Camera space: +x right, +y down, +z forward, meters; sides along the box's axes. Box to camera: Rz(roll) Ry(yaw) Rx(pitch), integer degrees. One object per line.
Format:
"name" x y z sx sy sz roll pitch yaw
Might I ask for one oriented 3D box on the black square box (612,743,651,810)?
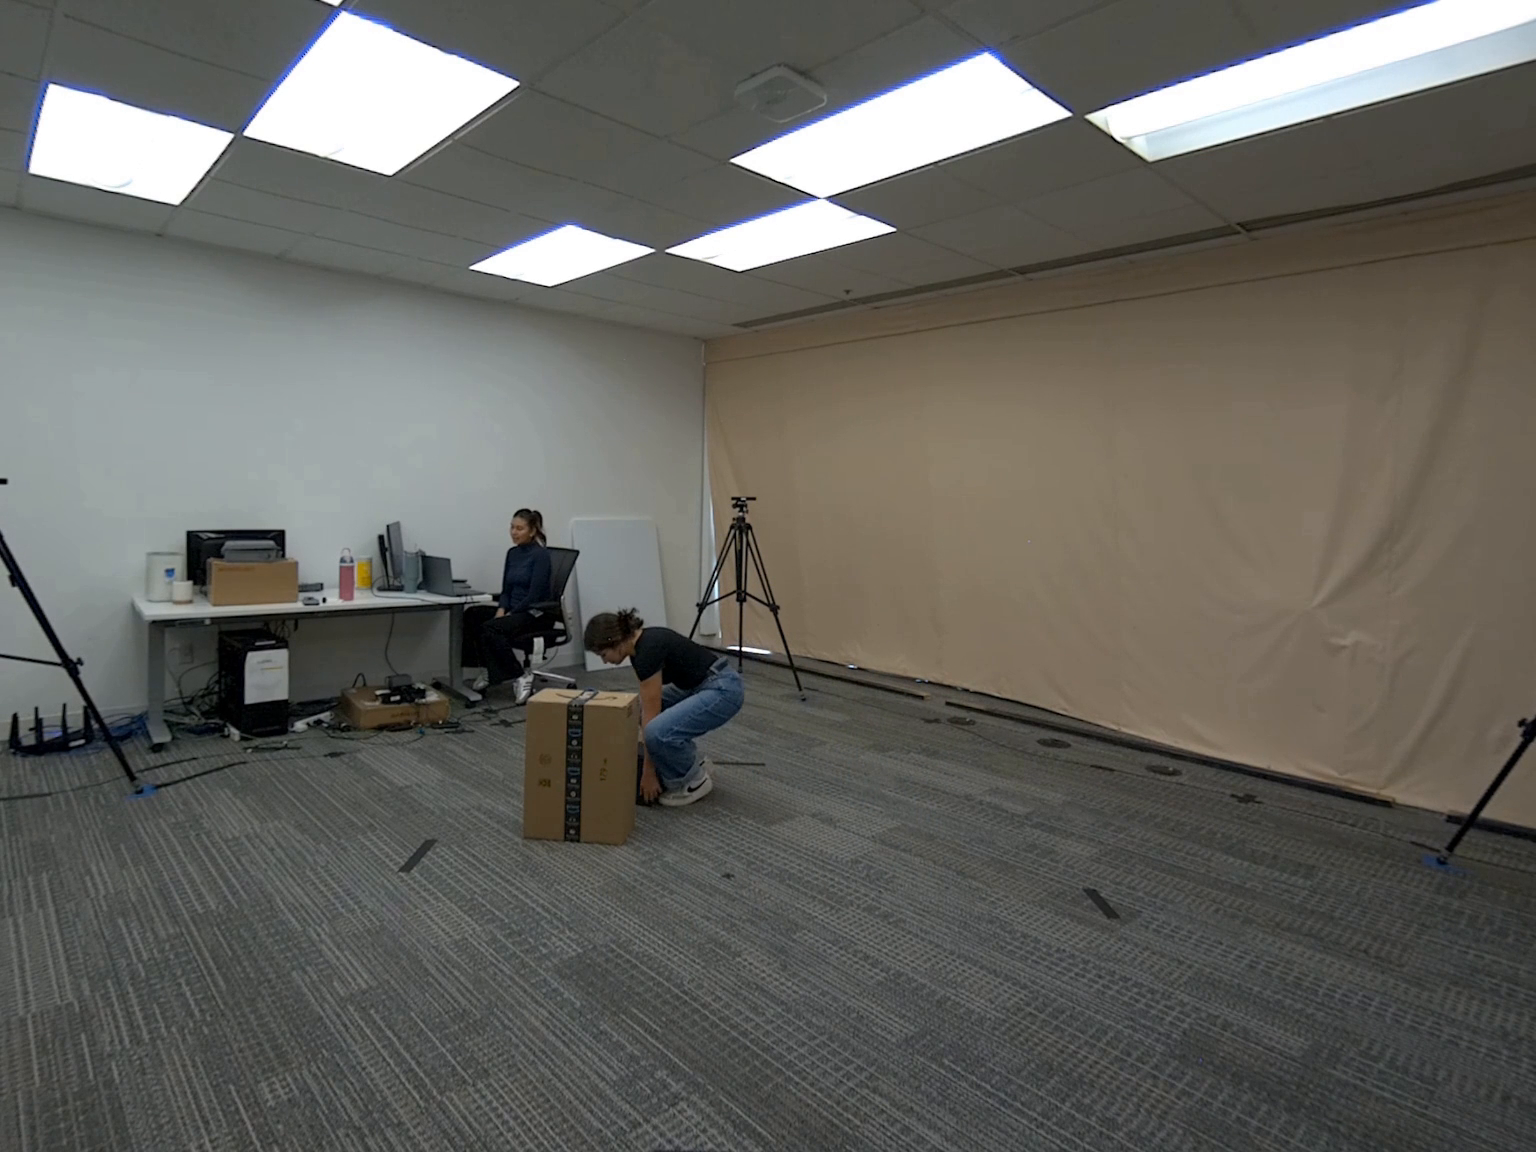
"black square box" -0.601 0.920 3.912 0.158 0.227 0.215 3 4 15
